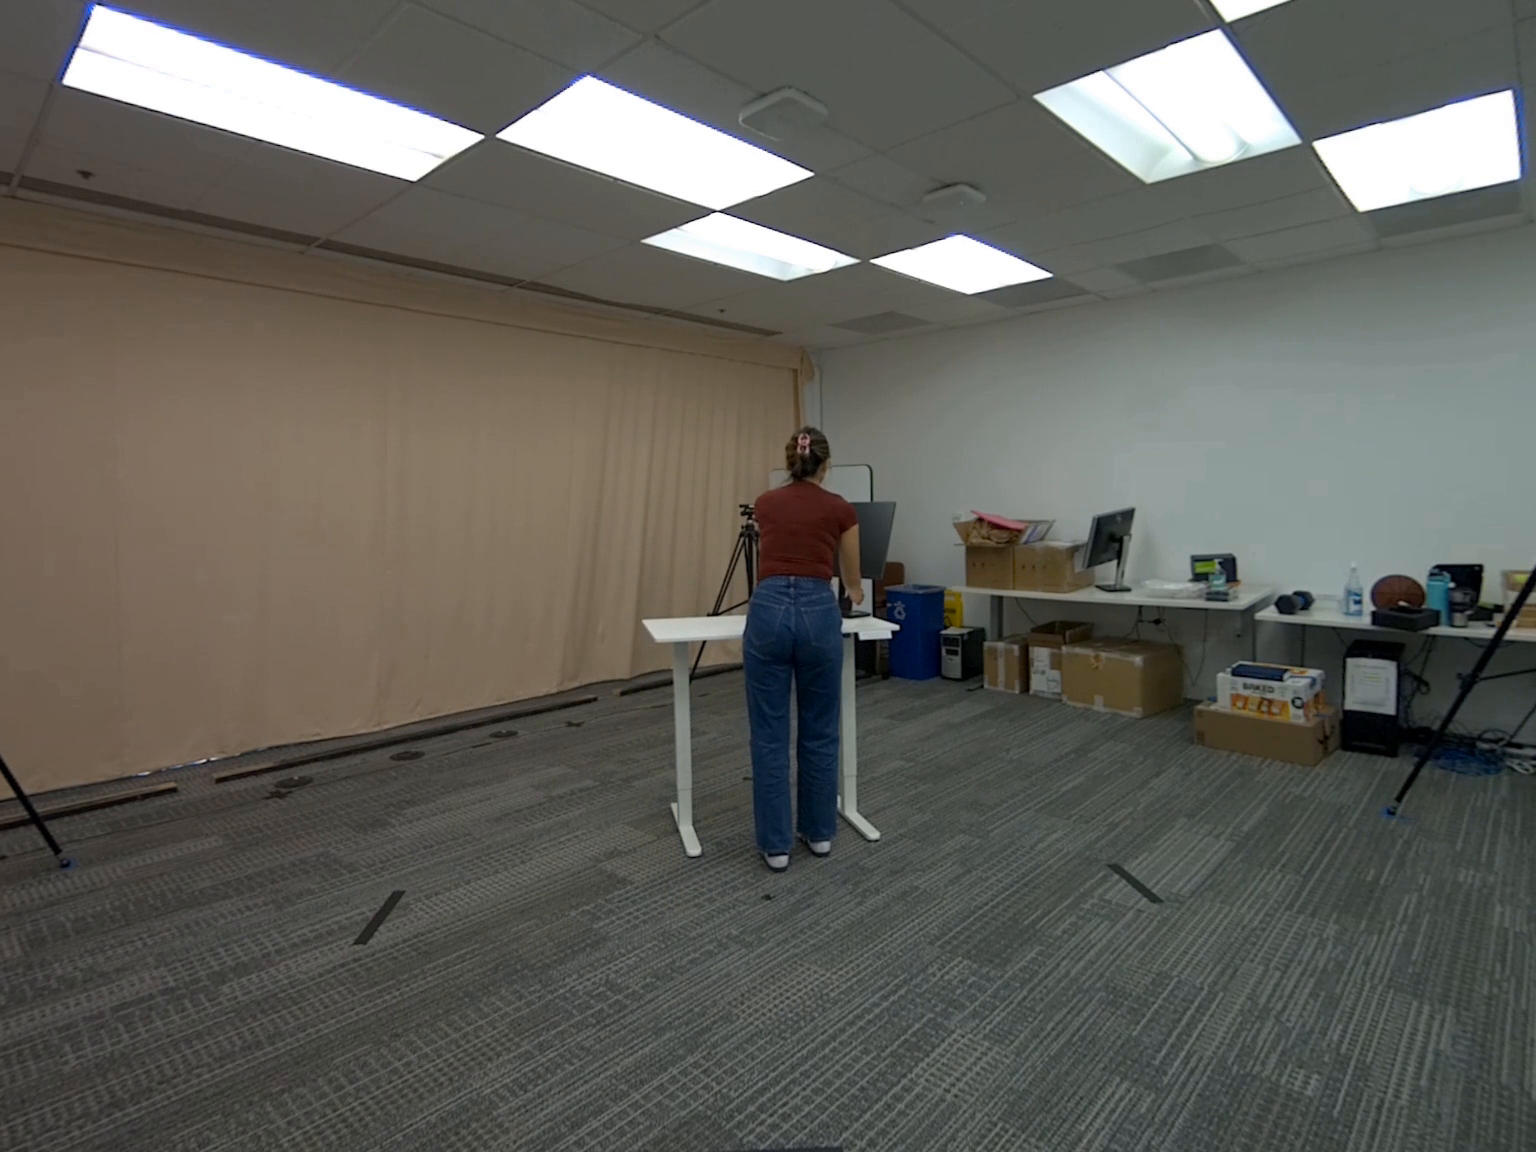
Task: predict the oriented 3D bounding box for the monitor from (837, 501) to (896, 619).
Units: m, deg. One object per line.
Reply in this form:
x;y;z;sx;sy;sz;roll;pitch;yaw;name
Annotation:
0.349;-0.078;3.860;0.557;0.522;0.181;2;1;40;monitor
